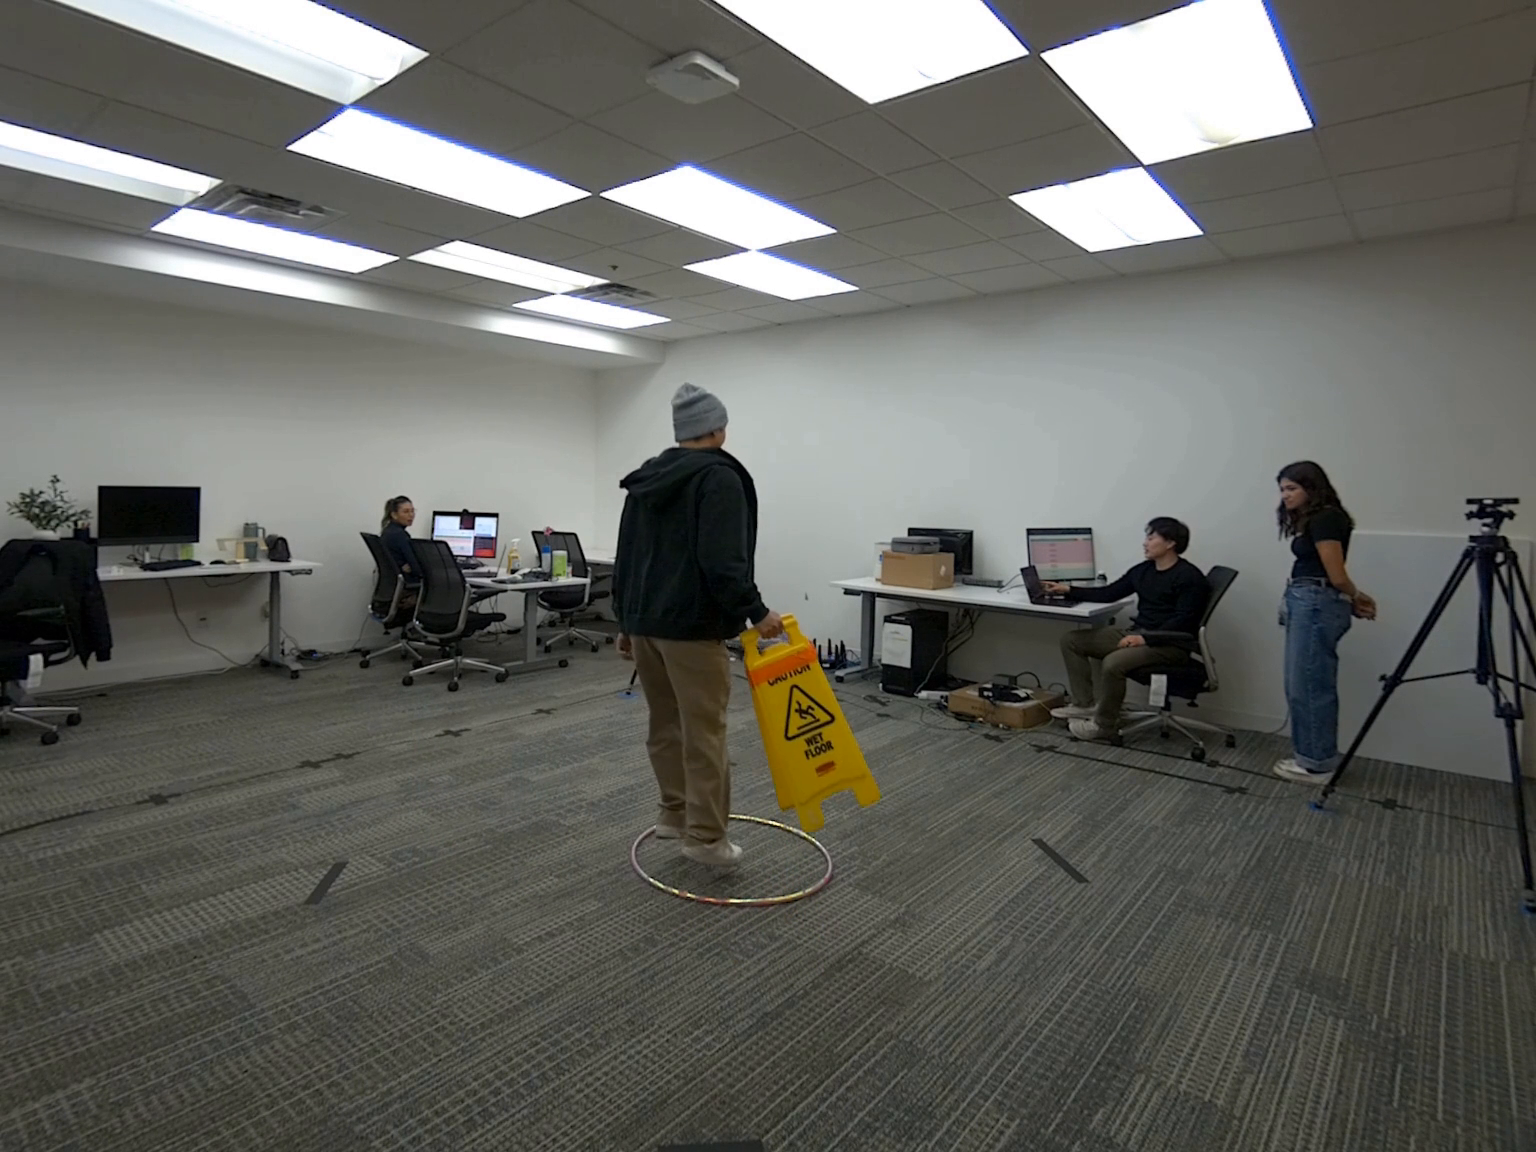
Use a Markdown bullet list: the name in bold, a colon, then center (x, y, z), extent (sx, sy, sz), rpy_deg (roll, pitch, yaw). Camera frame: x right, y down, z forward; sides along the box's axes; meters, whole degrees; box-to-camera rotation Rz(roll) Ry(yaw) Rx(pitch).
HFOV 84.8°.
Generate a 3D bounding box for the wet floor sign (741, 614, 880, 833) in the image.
- **wet floor sign**: center (0.087, 0.473, 2.813), extent (0.279, 0.643, 0.294), rpy_deg (-17, 4, -14)
